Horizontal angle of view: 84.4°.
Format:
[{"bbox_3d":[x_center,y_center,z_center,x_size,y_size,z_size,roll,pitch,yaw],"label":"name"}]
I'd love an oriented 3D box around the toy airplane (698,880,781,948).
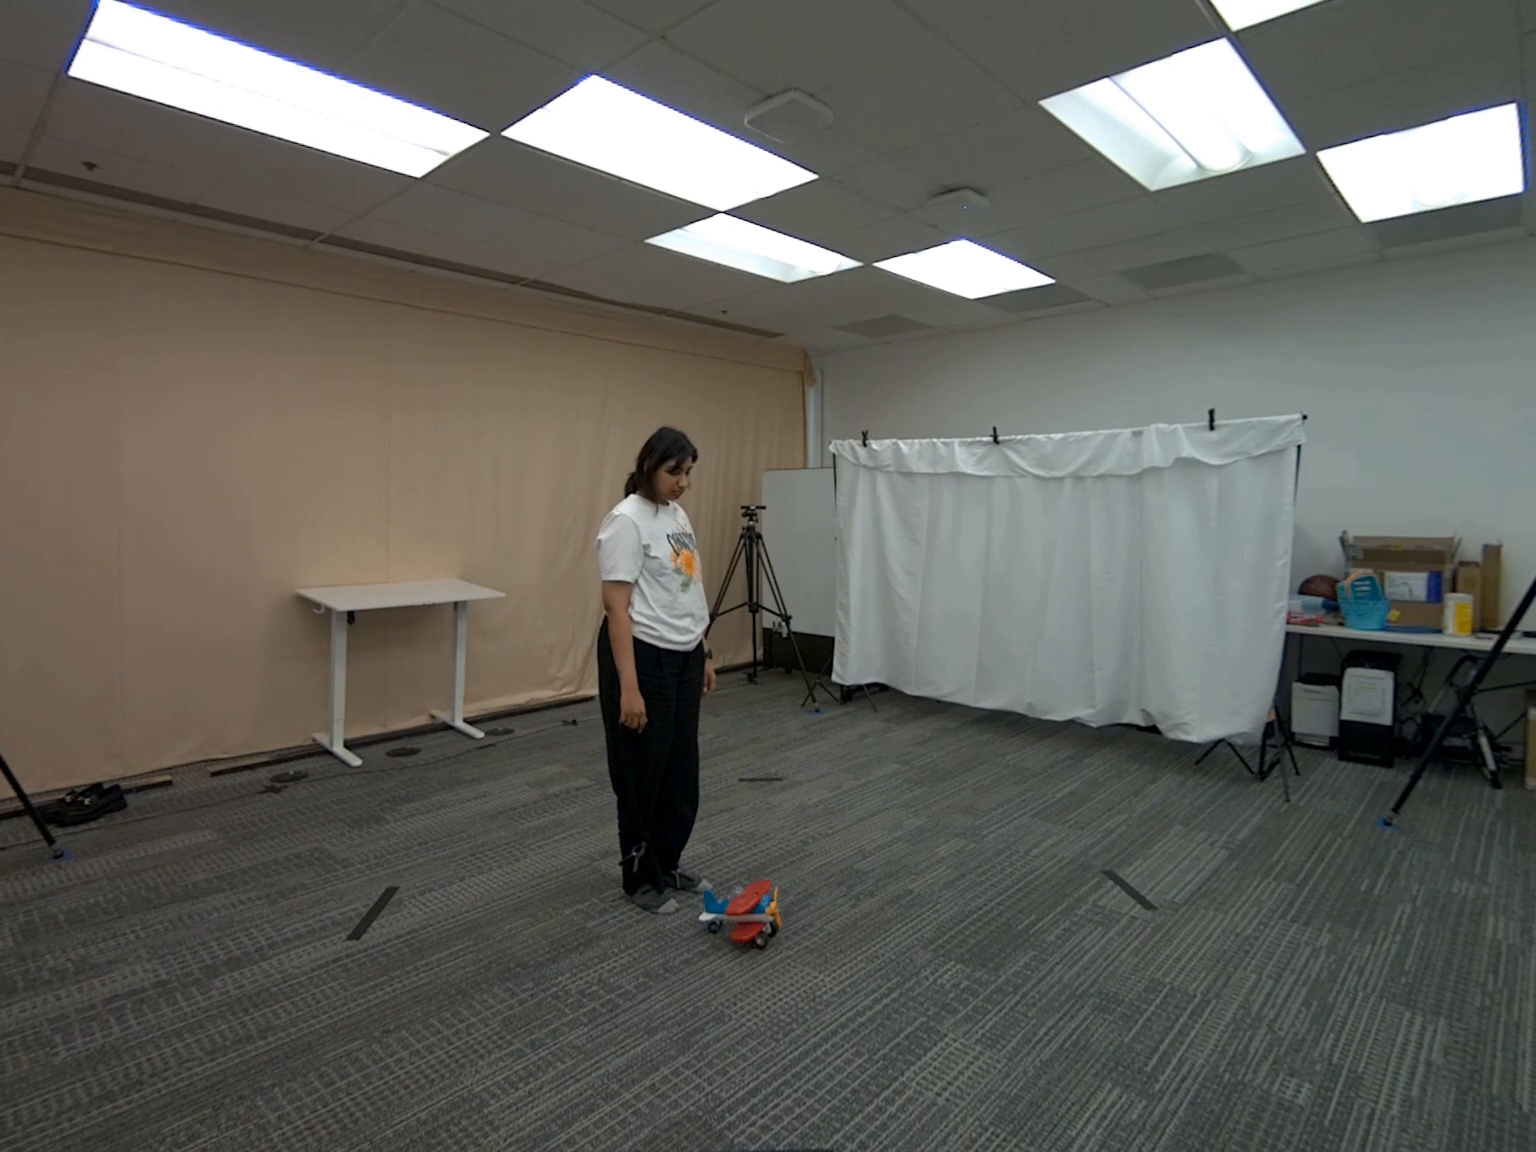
[{"bbox_3d":[-0.089,1.092,2.701,0.258,0.156,0.253,0,4,-5],"label":"toy airplane"}]
